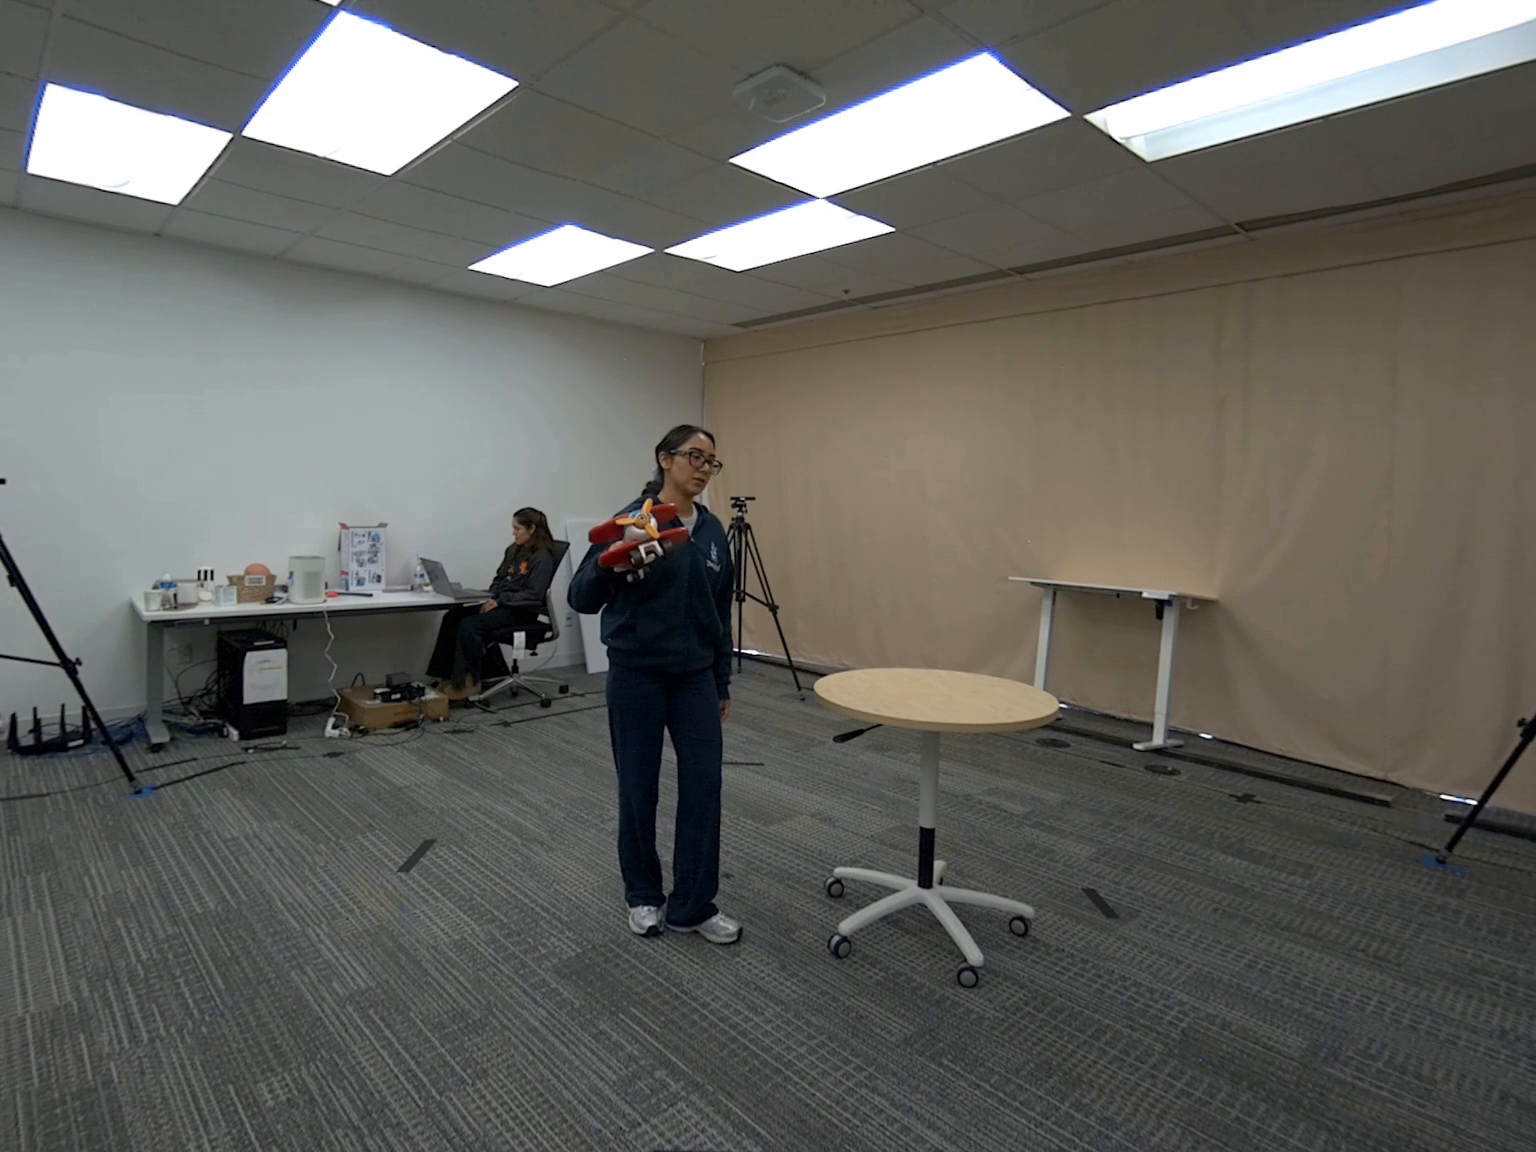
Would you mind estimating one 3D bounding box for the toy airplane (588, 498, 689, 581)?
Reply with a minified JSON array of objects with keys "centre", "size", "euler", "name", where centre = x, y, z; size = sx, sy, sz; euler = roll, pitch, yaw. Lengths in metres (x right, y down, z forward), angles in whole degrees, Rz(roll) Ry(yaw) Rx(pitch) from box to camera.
[{"centre":[-0.364,-0.073,2.259],"size":[0.262,0.157,0.247],"euler":[-28,-8,40],"name":"toy airplane"}]
